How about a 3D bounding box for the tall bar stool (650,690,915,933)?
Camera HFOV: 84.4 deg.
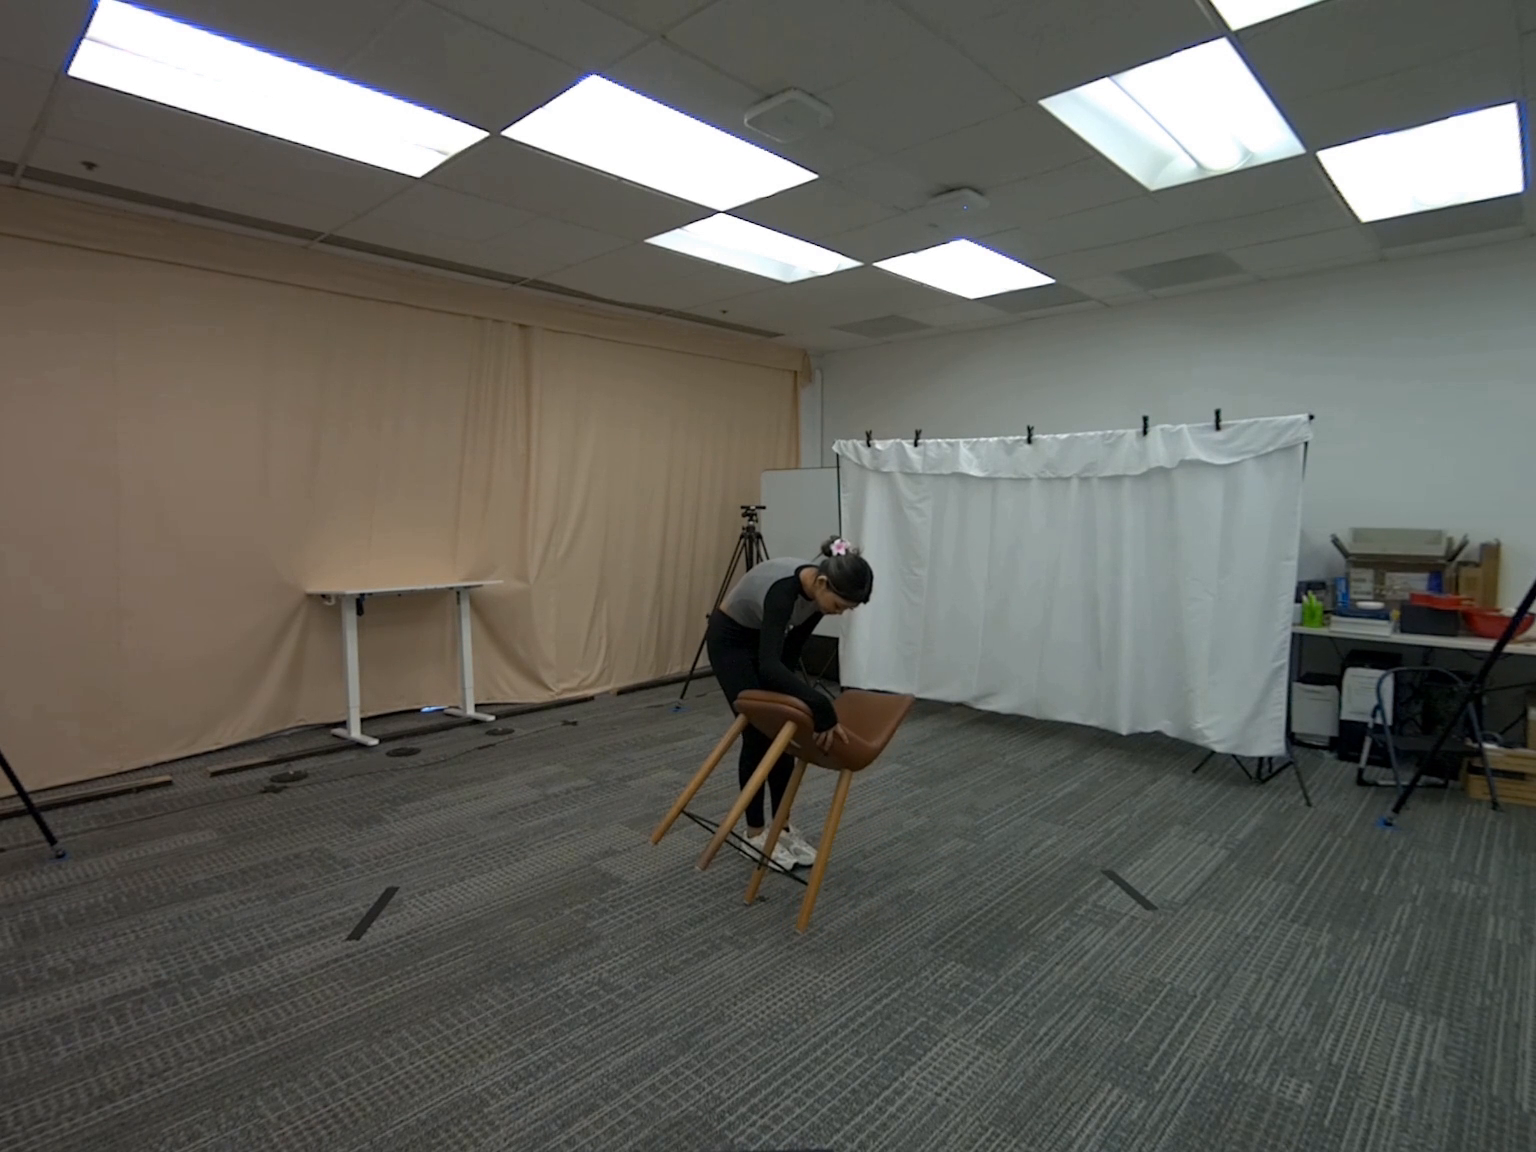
[{"bbox_3d":[0.072,0.667,2.864,0.458,0.889,0.467,39,-21,-19],"label":"tall bar stool"}]
